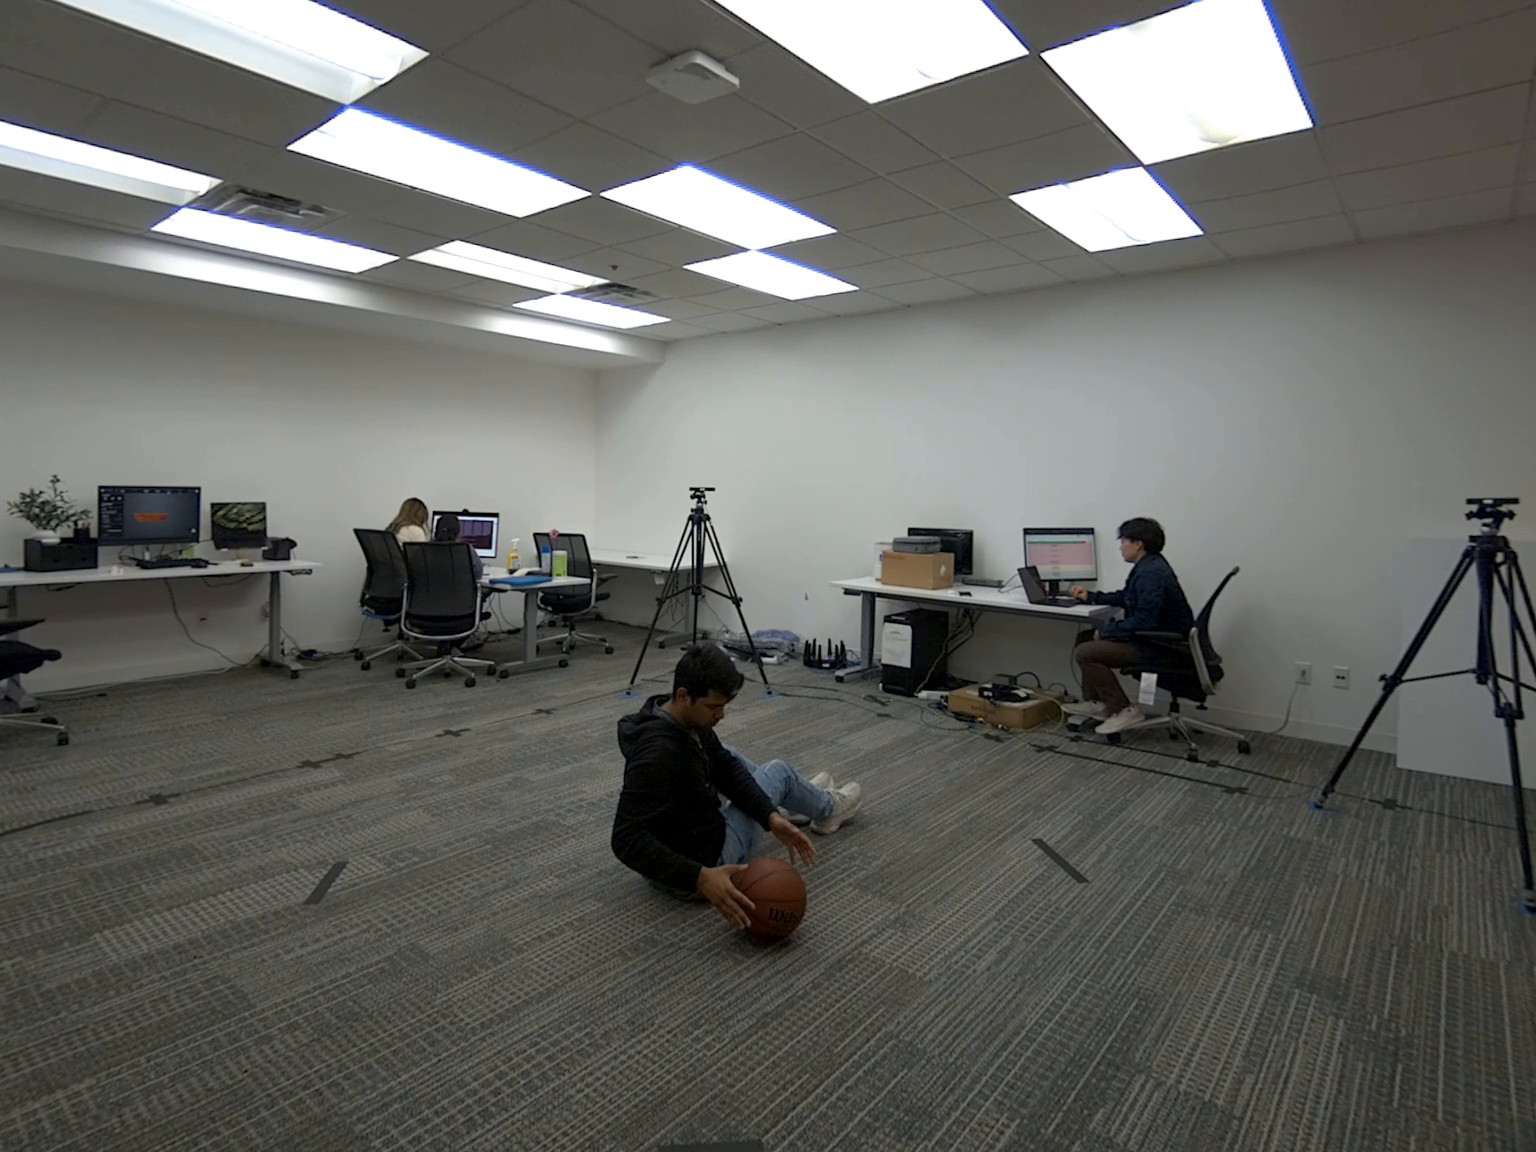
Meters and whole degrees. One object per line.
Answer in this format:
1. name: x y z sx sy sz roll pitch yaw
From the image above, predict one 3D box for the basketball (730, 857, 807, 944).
1. basketball: -0.003 1.002 2.642 0.235 0.235 0.237 1 4 -2
